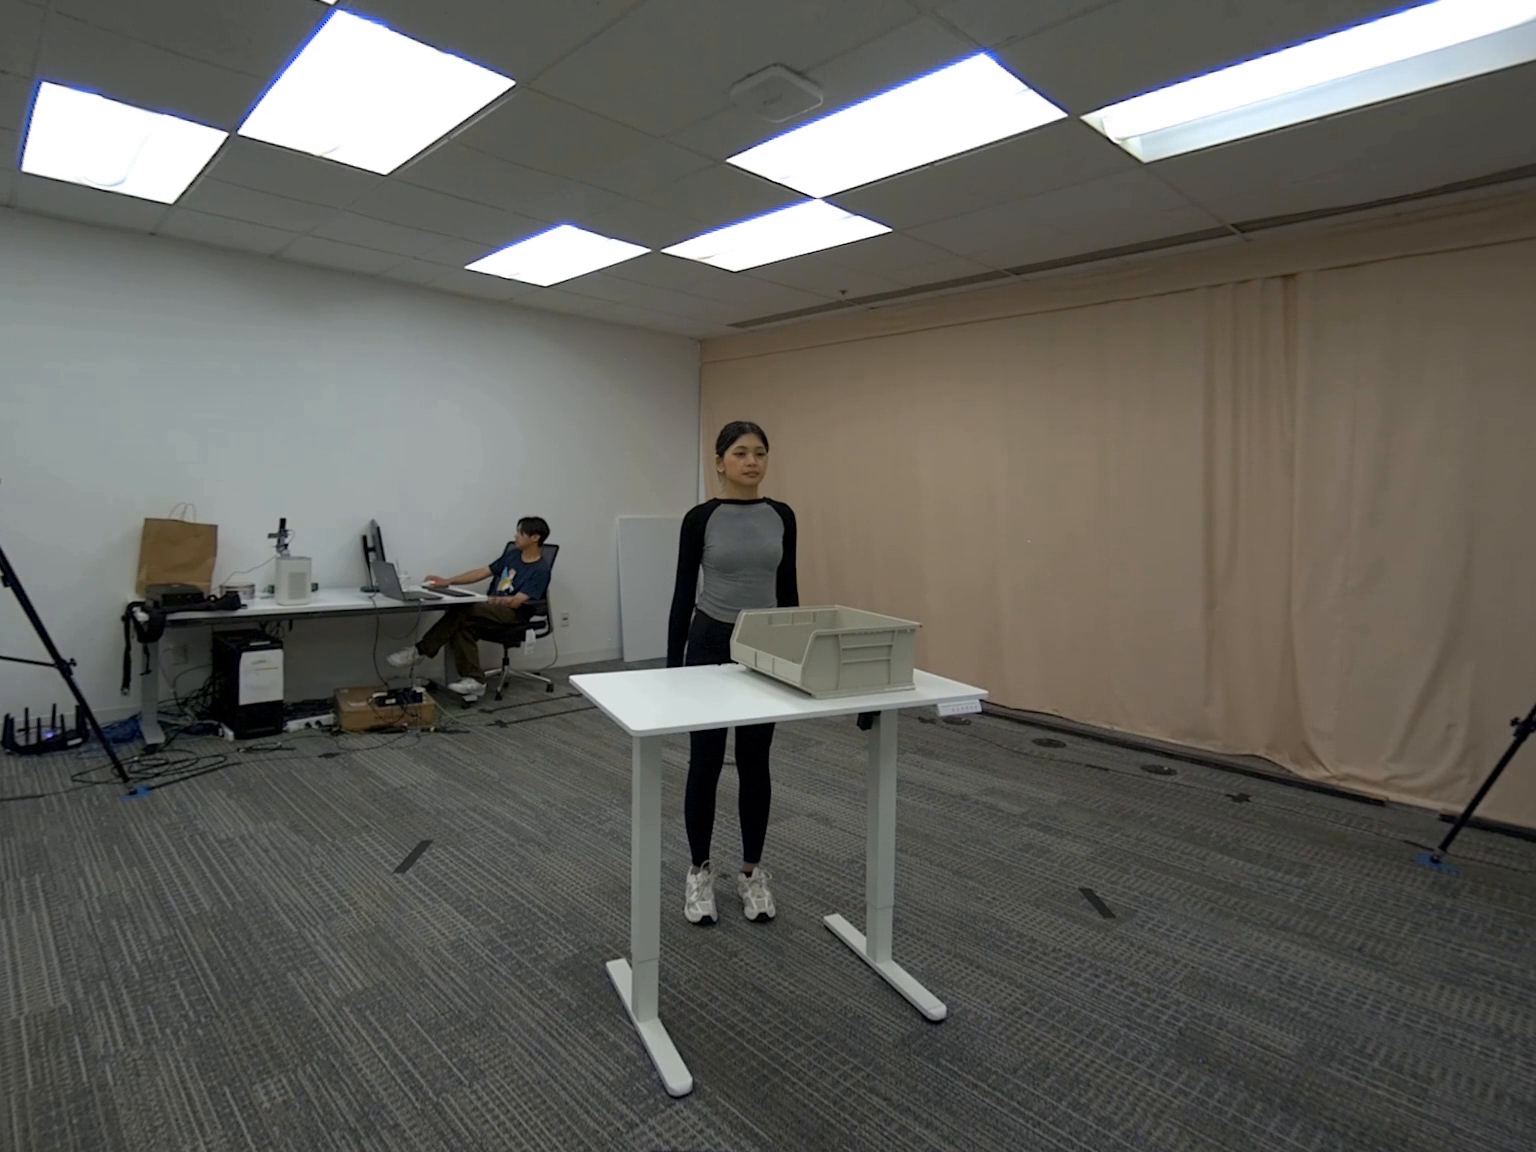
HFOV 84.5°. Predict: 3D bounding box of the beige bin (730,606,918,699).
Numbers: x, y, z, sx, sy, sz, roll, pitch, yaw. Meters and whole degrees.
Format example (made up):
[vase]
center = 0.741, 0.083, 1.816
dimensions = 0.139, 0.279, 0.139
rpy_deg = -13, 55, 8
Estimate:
[beige bin]
center = 0.148, 0.212, 2.378
dimensions = 0.370, 0.188, 0.431
rpy_deg = -1, 5, -27
